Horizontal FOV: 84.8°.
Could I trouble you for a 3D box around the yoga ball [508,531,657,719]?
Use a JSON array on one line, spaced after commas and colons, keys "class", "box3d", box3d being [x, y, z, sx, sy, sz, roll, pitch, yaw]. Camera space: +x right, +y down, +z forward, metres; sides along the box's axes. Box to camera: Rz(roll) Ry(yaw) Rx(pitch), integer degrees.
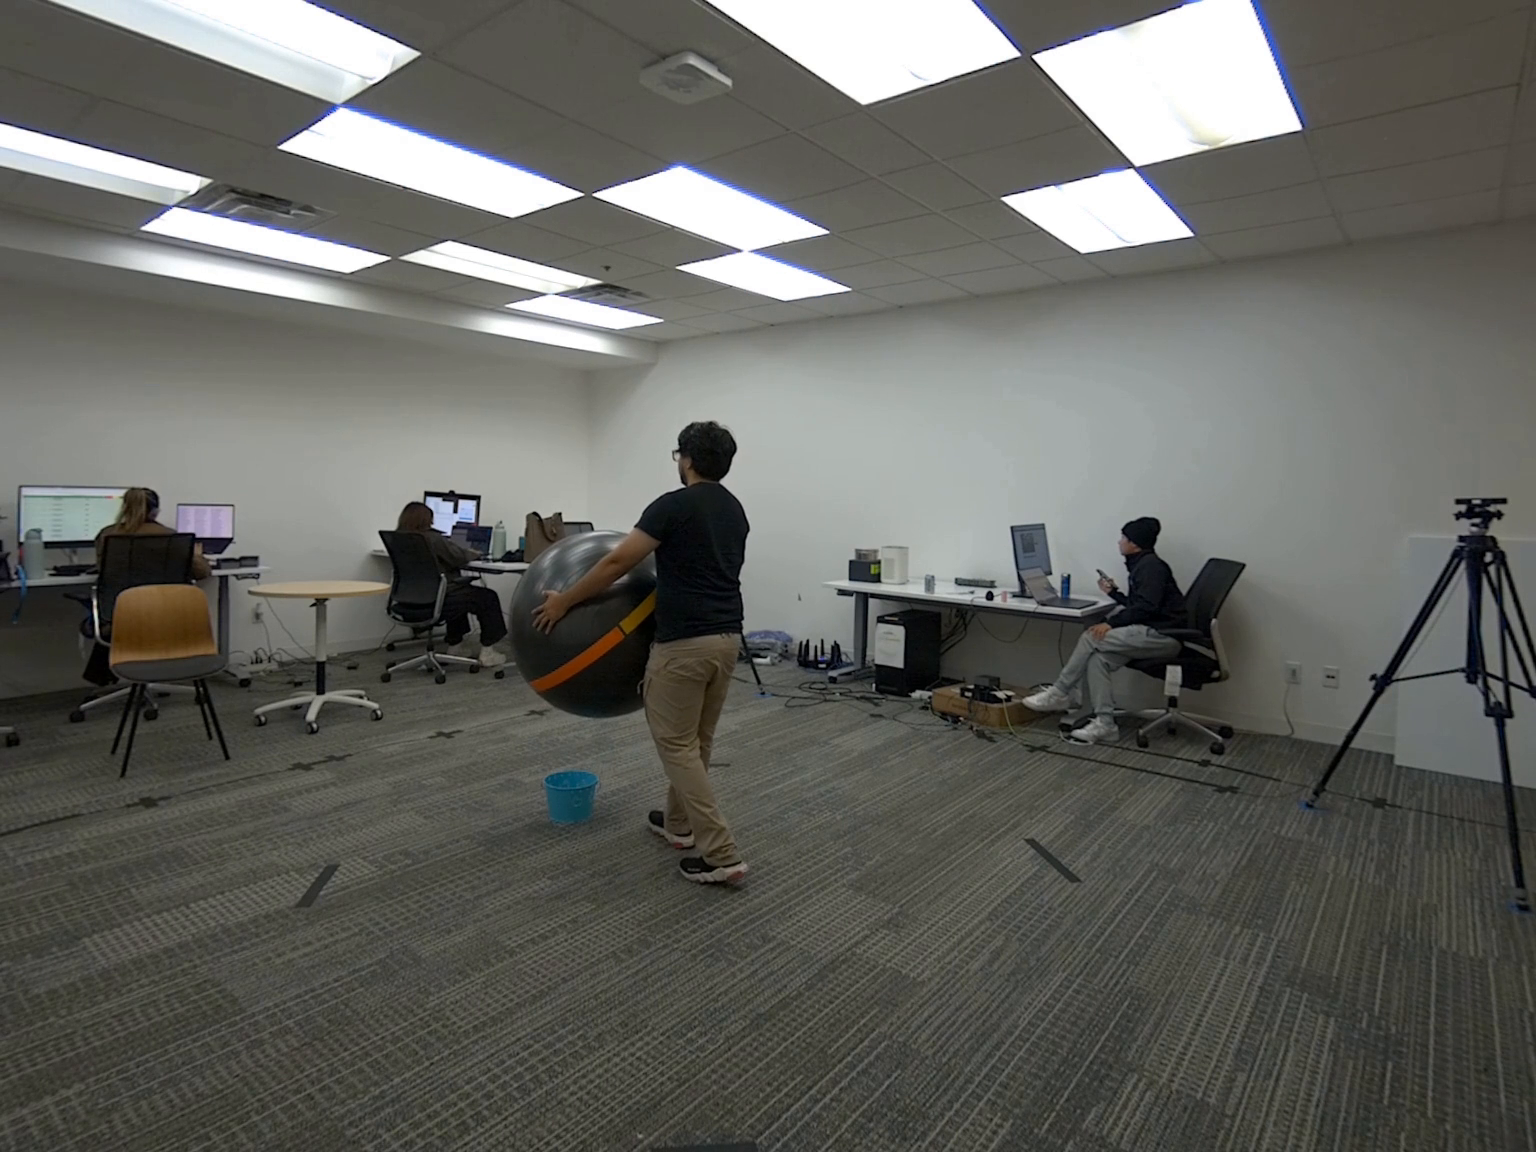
[{"class": "yoga ball", "box3d": [-0.692, 0.202, 3.482, 0.757, 0.756, 0.762, 1, 4, -2]}]
